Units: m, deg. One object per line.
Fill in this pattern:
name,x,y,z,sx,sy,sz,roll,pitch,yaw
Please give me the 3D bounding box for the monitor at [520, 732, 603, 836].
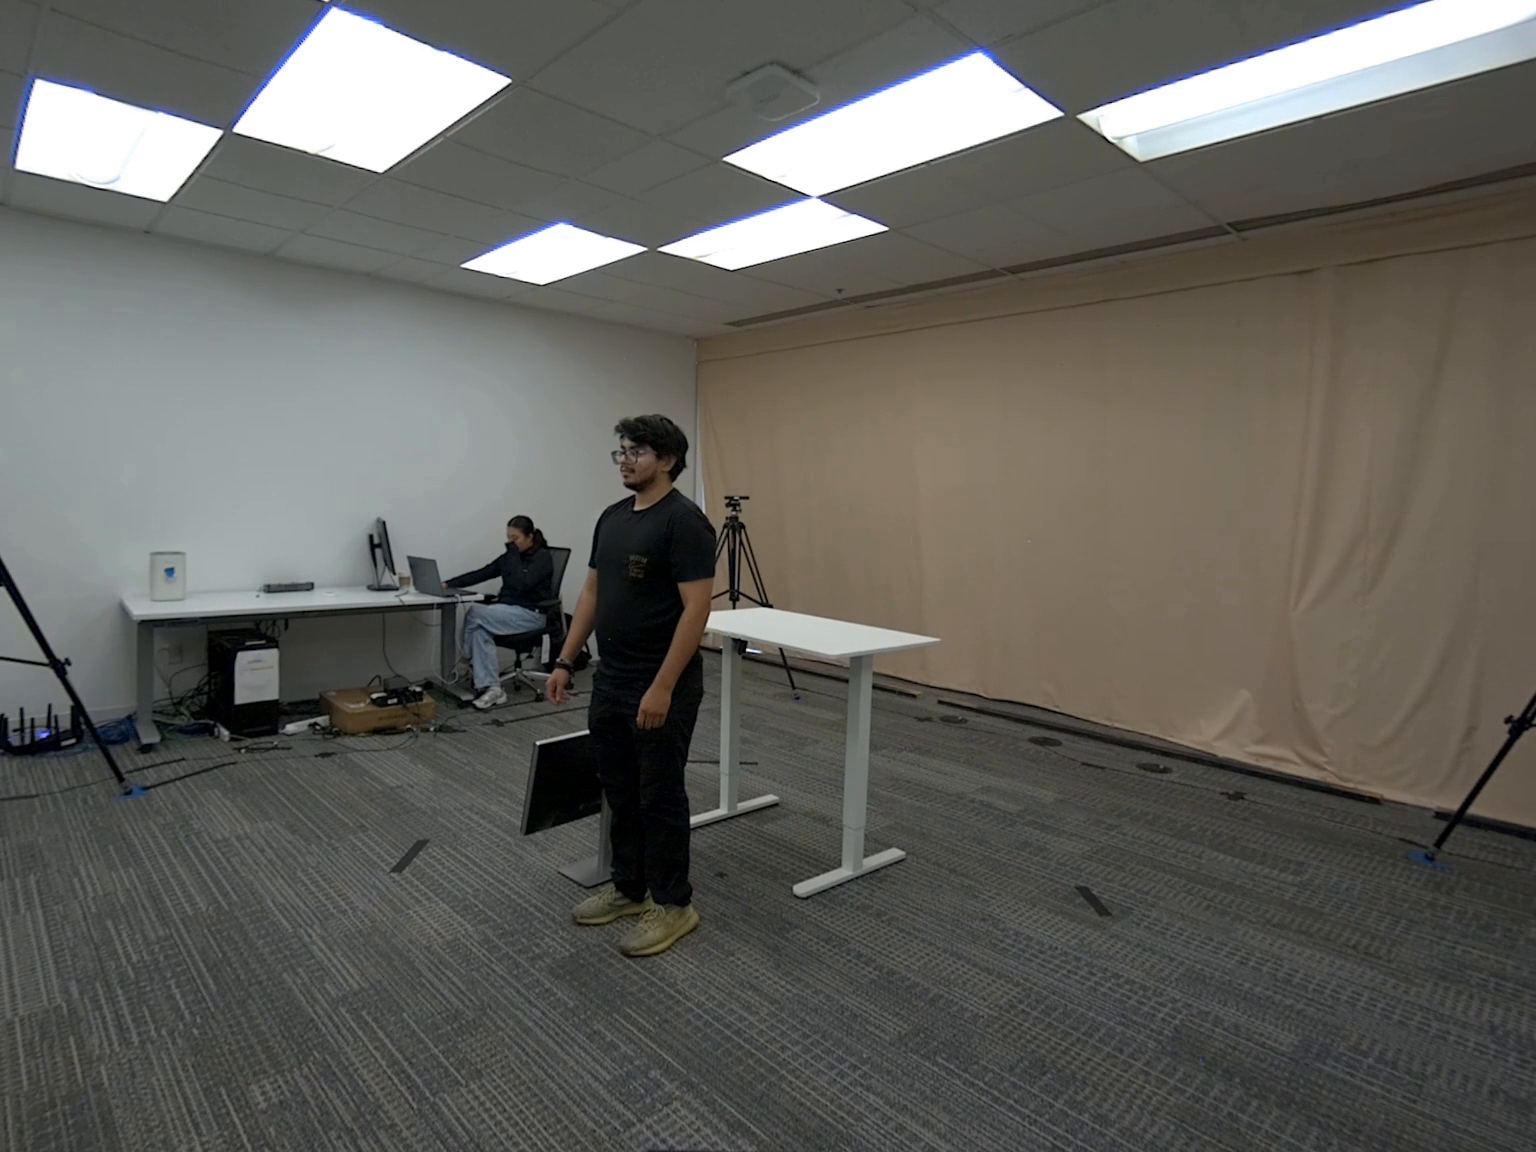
monitor,-0.599,0.828,3.084,0.216,0.551,0.552,13,11,43
